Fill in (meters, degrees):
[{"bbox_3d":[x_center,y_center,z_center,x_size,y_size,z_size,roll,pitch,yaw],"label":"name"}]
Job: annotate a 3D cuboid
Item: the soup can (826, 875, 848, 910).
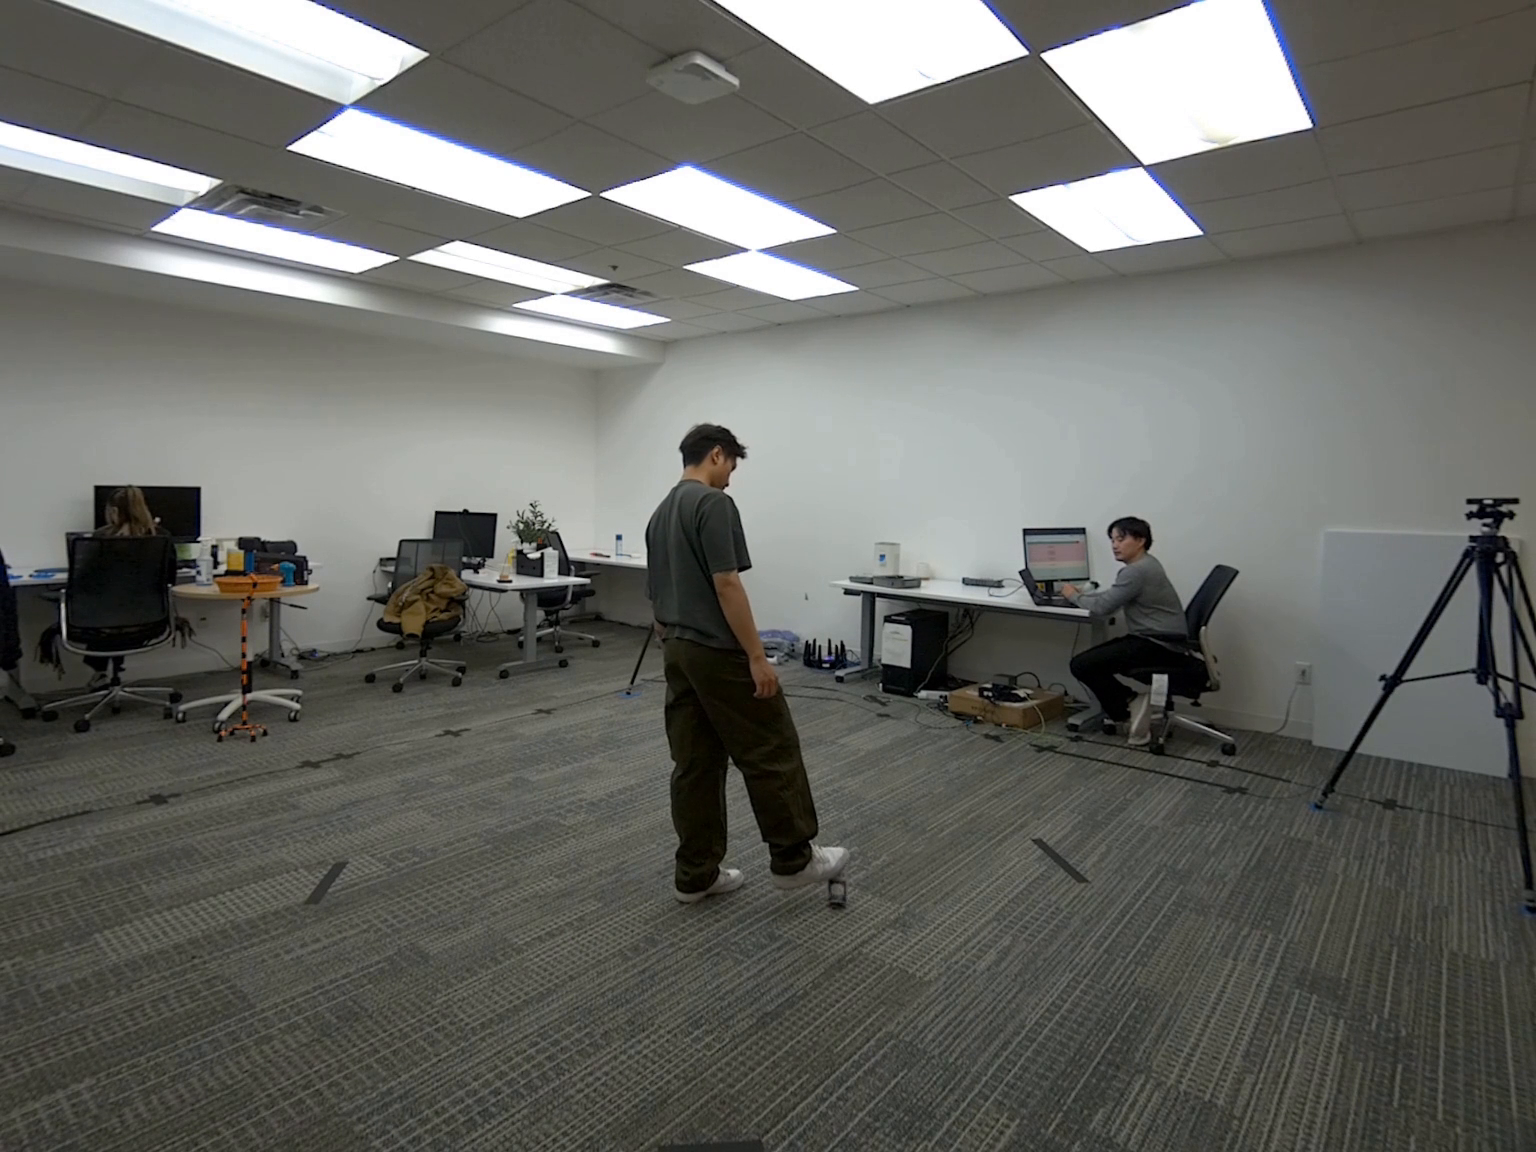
[{"bbox_3d":[0.225,1.047,2.868,0.067,0.124,0.066,2,-20,-1],"label":"soup can"}]
